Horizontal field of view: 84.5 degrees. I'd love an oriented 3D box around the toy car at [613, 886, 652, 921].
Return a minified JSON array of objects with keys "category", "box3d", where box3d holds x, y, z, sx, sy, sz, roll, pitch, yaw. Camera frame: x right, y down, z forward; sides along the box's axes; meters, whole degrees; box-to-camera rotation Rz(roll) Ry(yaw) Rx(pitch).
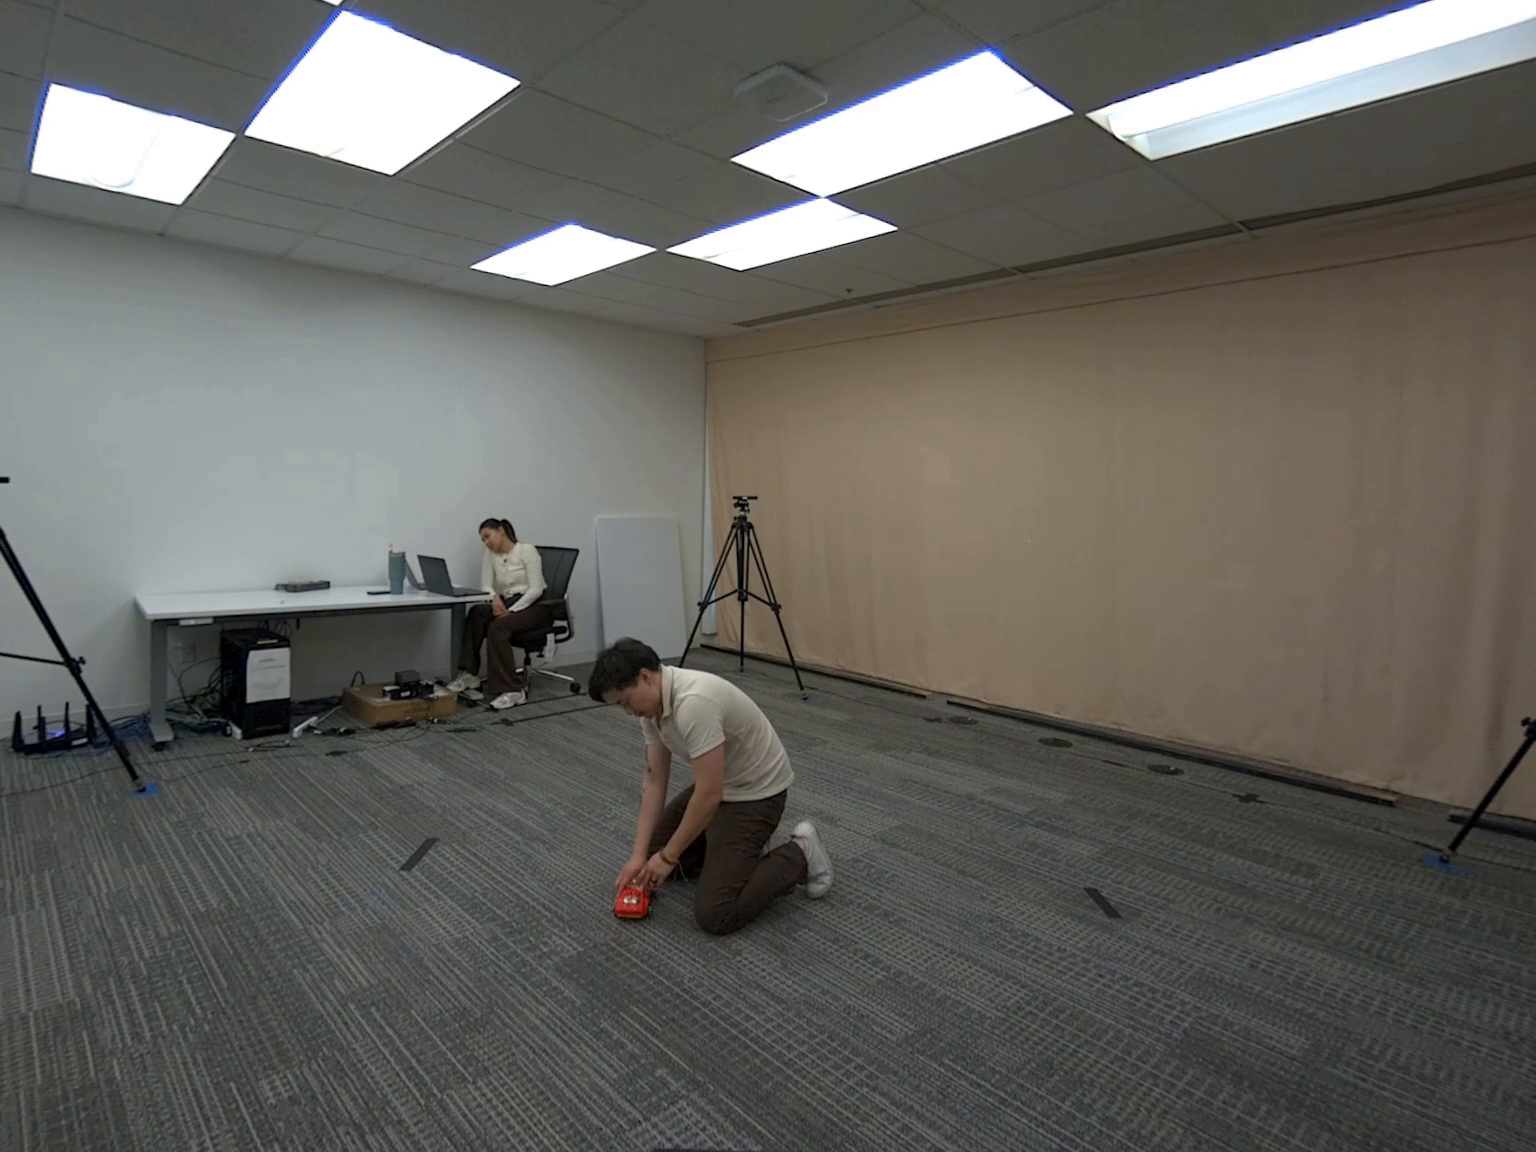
[{"category":"toy car","box3d":[-0.460,1.079,2.838,0.130,0.083,0.253,1,-5,2]}]
